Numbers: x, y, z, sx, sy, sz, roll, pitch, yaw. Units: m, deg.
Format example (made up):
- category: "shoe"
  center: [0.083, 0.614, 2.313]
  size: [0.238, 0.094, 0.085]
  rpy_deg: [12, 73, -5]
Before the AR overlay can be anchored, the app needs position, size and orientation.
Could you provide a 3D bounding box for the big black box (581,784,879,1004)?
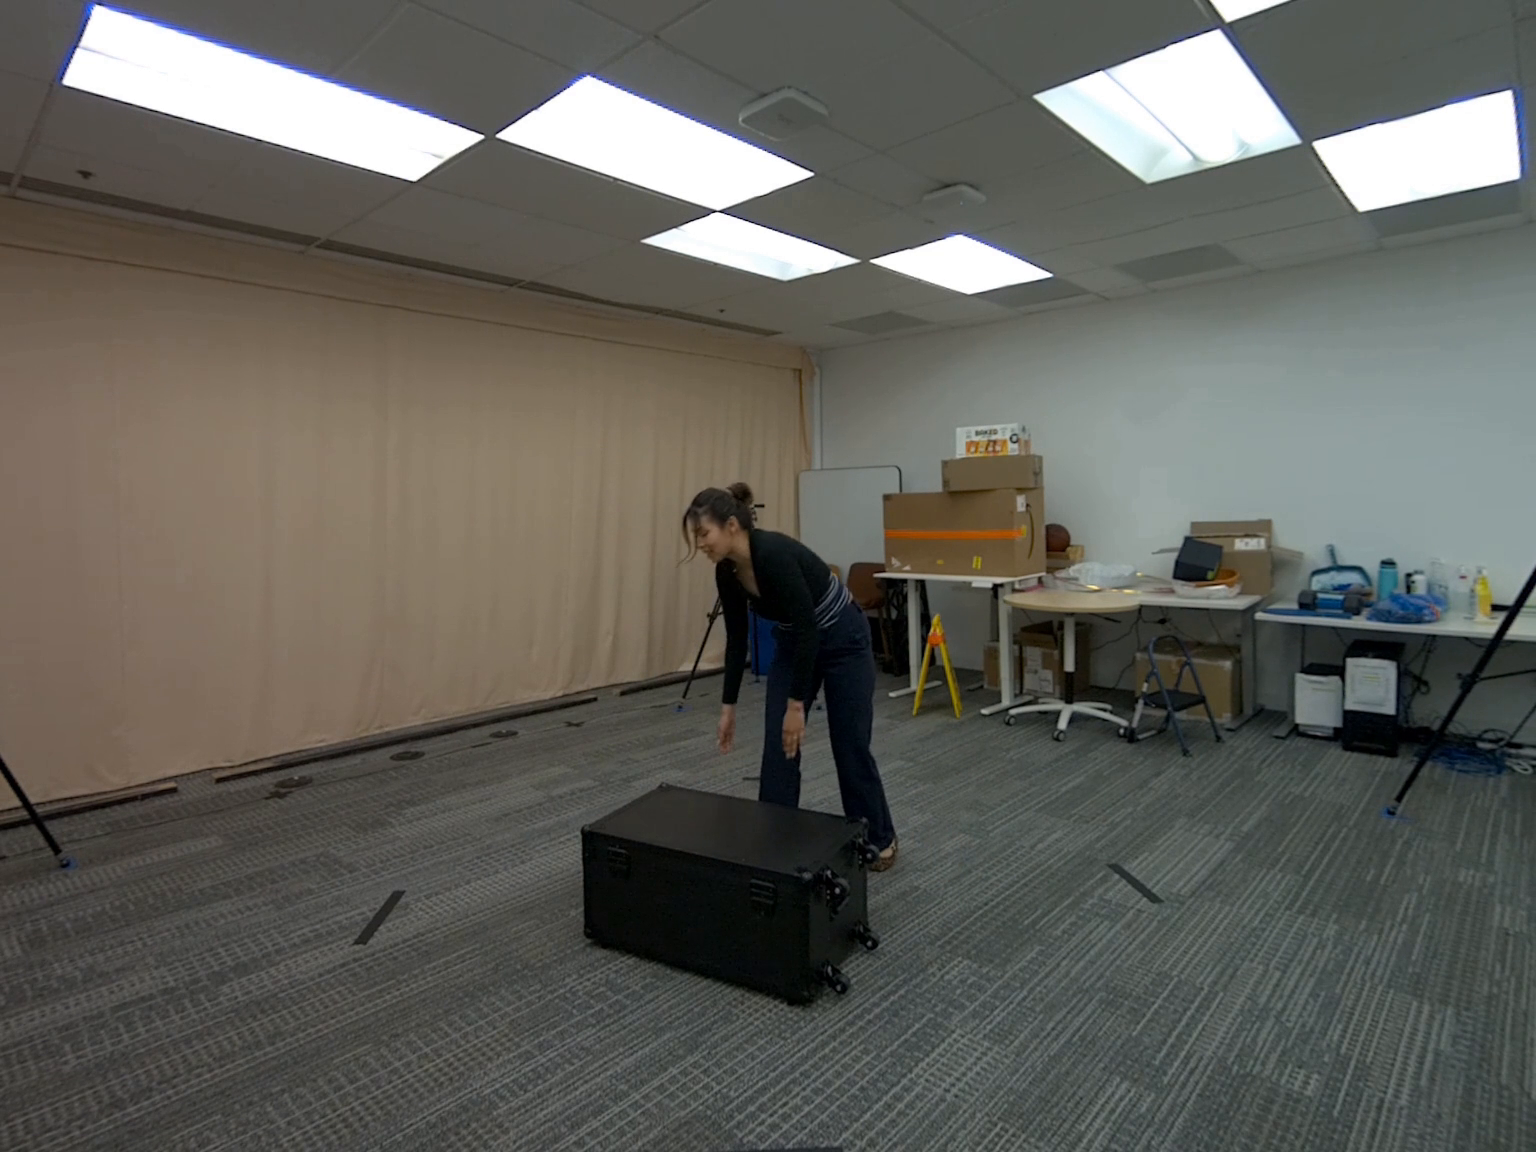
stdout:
- category: "big black box"
  center: [-0.104, 0.977, 2.674]
  size: [0.885, 0.395, 0.508]
  rpy_deg: [1, 4, 28]
